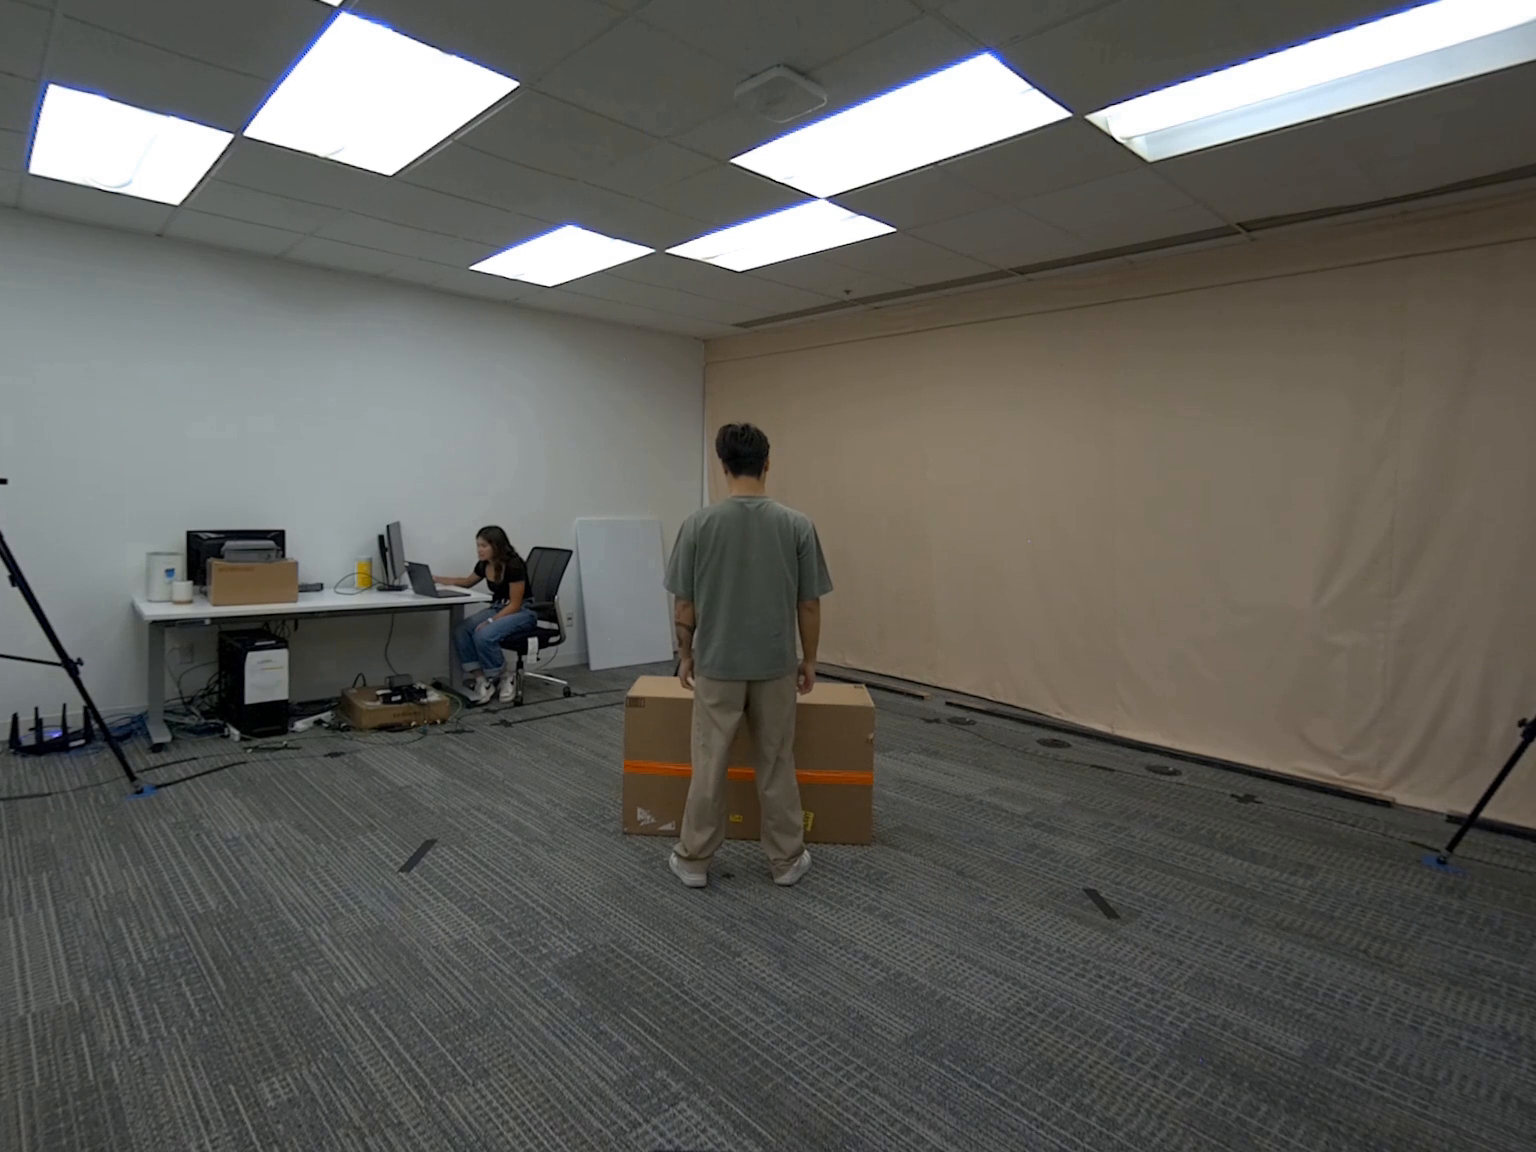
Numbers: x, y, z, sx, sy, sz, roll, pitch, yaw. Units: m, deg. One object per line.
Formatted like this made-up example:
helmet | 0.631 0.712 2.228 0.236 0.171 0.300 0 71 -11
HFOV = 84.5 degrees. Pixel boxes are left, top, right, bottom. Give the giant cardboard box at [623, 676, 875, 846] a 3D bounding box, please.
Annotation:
giant cardboard box | -0.088 0.768 3.632 1.028 0.576 0.426 2 4 2
